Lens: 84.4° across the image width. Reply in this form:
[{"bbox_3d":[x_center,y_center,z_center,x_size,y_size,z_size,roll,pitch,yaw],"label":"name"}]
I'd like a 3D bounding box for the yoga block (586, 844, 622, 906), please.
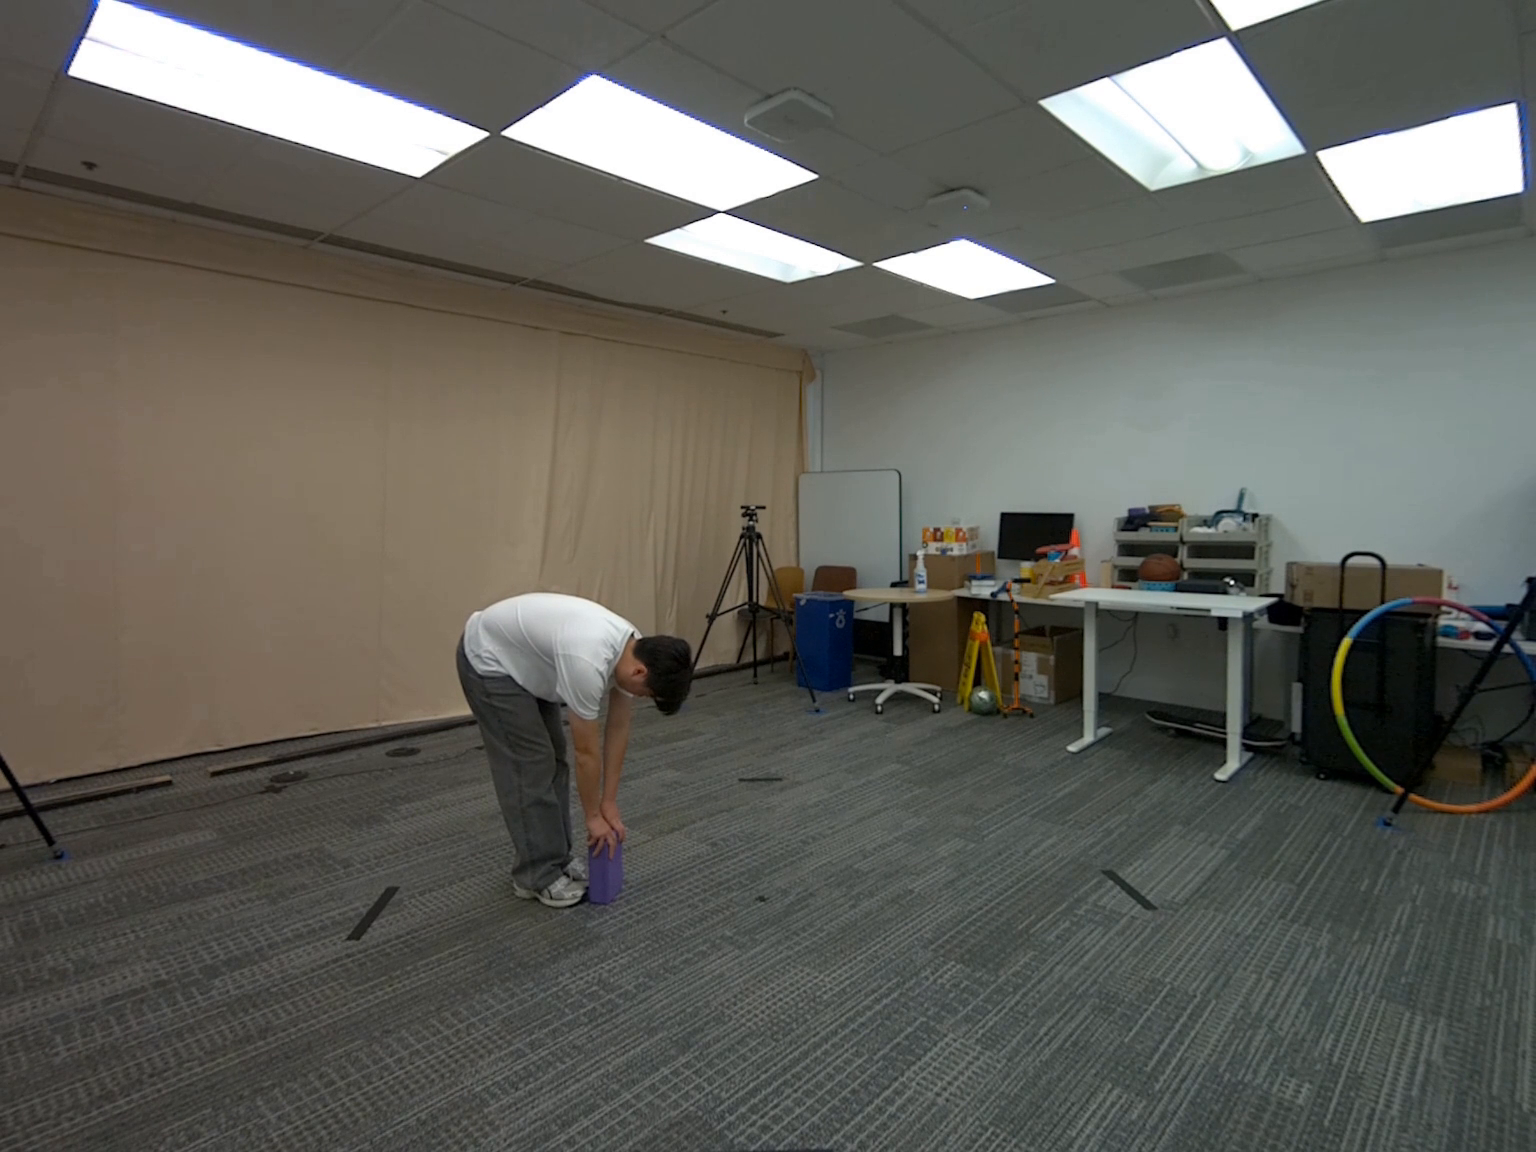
[{"bbox_3d":[-0.575,1.044,2.999,0.077,0.229,0.148,-1,4,8],"label":"yoga block"}]
